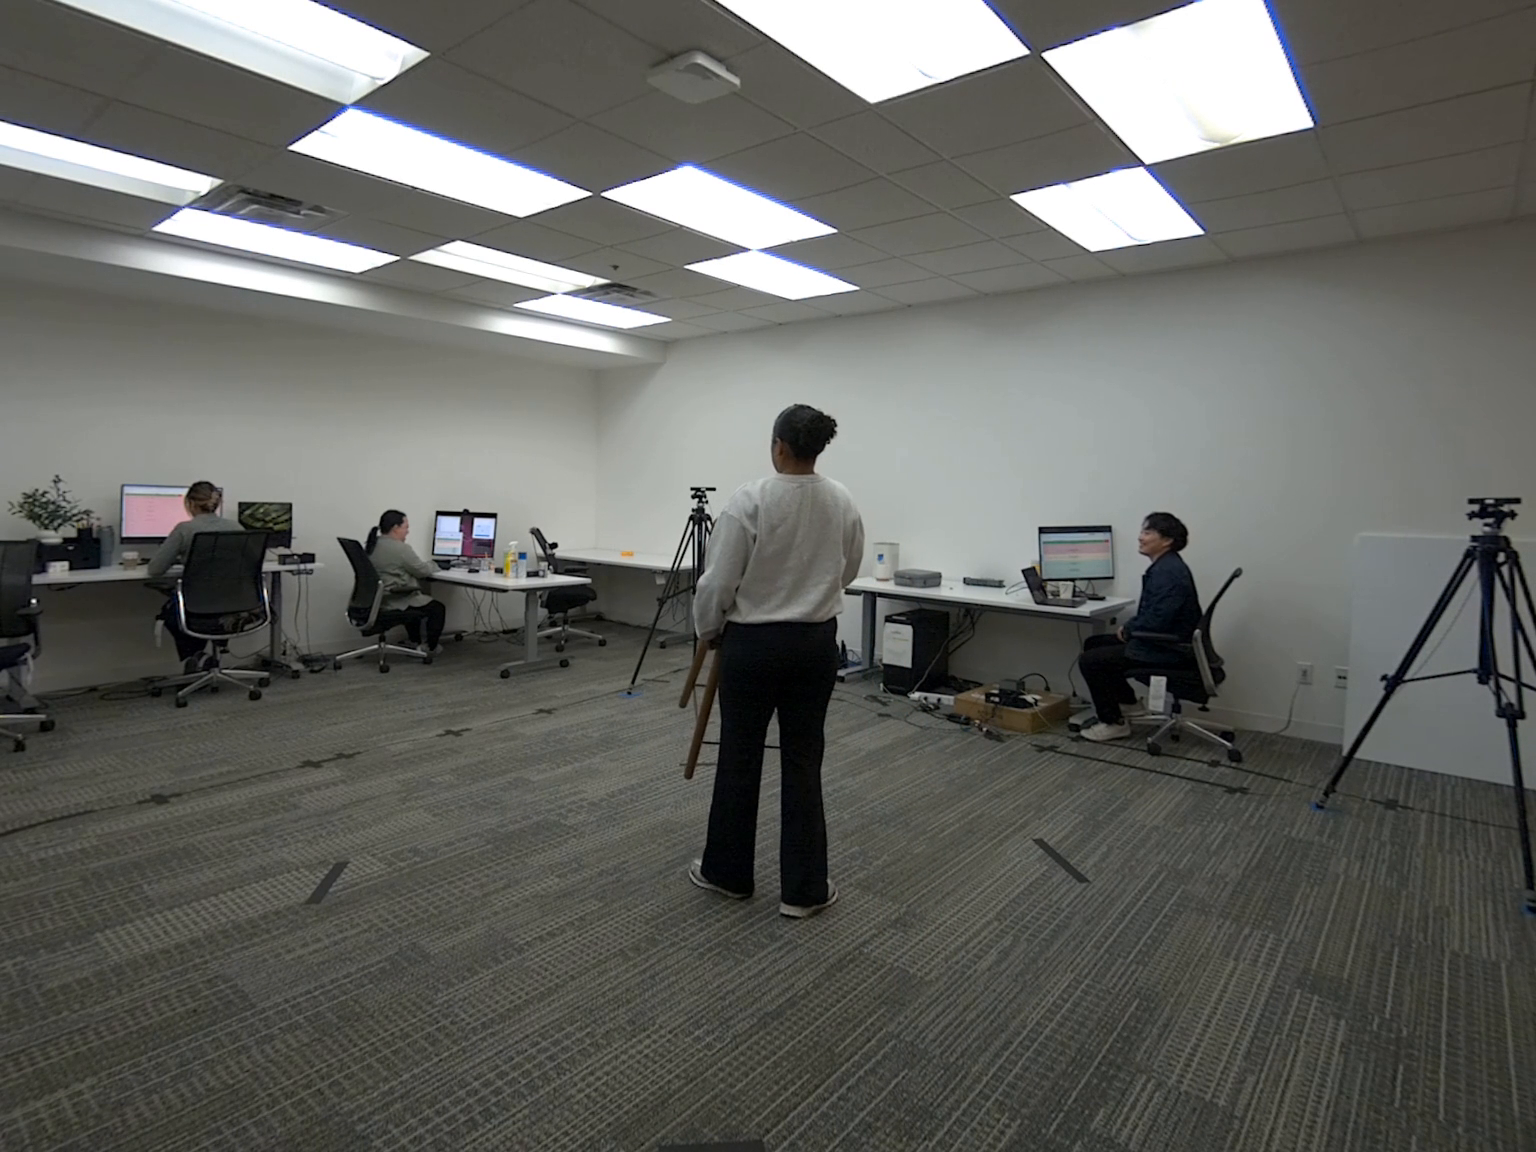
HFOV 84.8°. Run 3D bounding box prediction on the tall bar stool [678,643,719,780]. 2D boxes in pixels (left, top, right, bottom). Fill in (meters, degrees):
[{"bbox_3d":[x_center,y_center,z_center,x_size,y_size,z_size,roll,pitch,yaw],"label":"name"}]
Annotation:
[{"bbox_3d":[-0.061,0.273,3.162,0.450,0.877,0.481,8,23,-13],"label":"tall bar stool"}]
